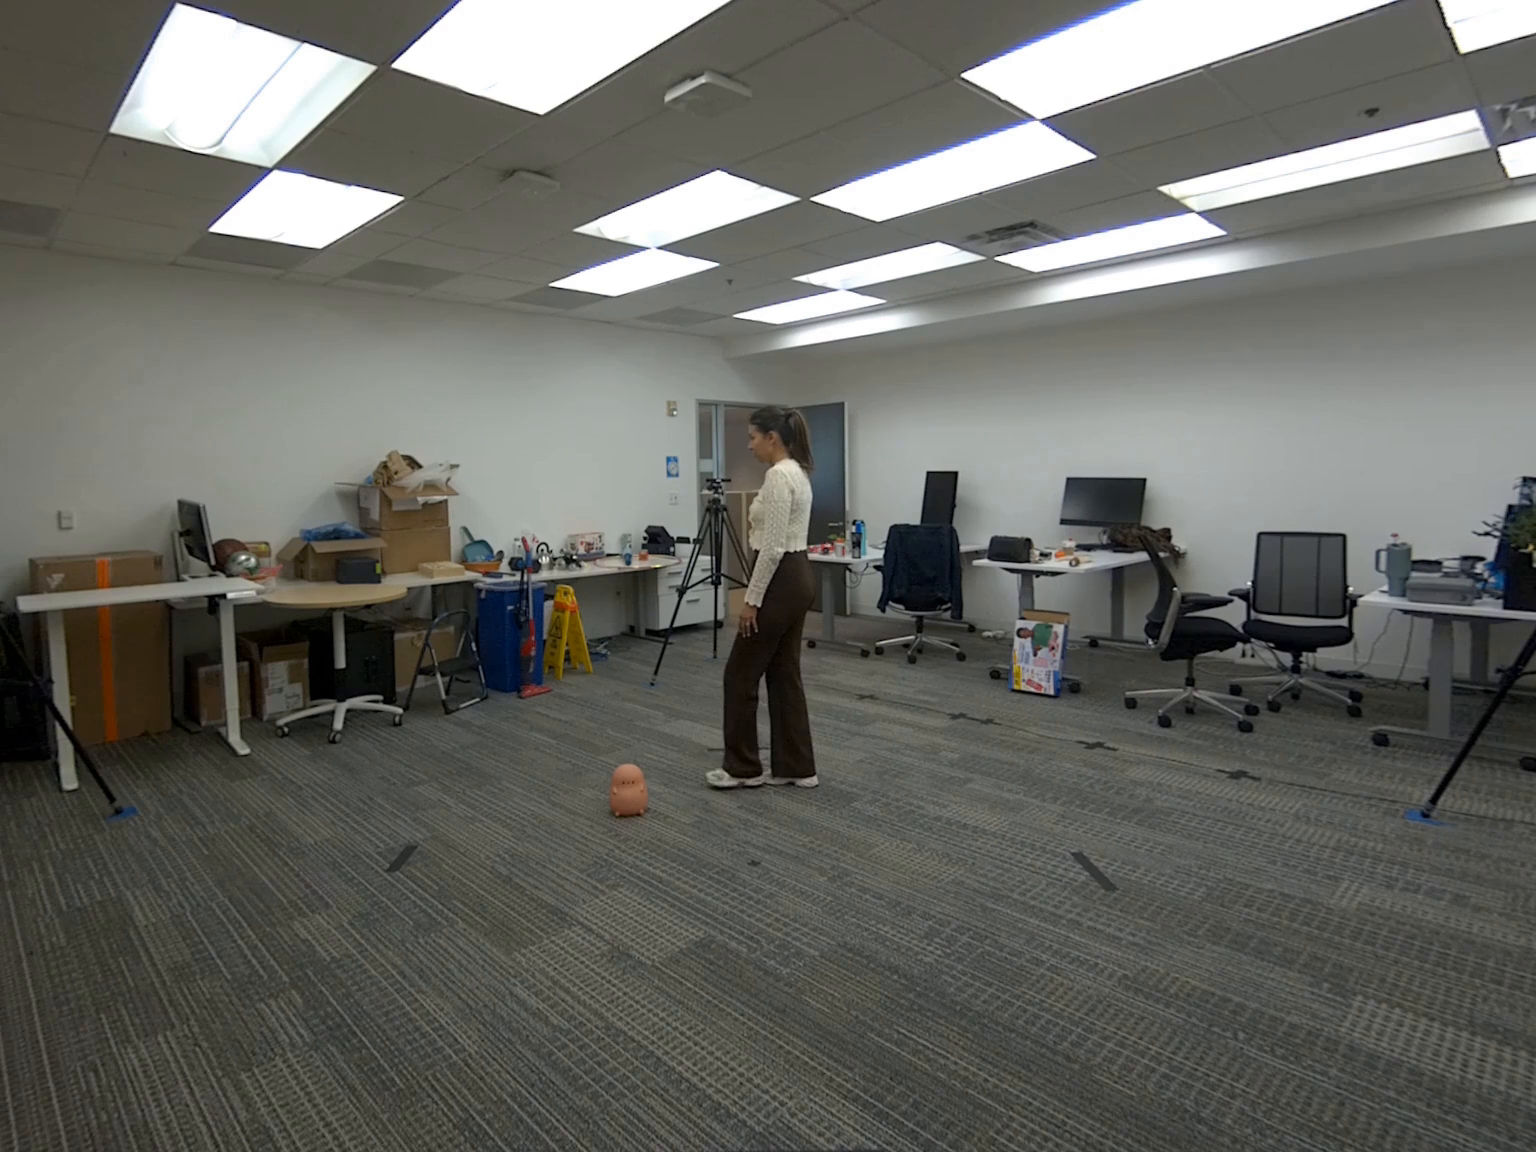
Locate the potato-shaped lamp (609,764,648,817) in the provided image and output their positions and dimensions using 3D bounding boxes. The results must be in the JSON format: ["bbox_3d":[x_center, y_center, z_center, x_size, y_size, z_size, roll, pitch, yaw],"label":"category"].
[{"bbox_3d":[-0.590,0.897,3.614,0.164,0.197,0.173,-3,5,-6],"label":"potato-shaped lamp"}]
